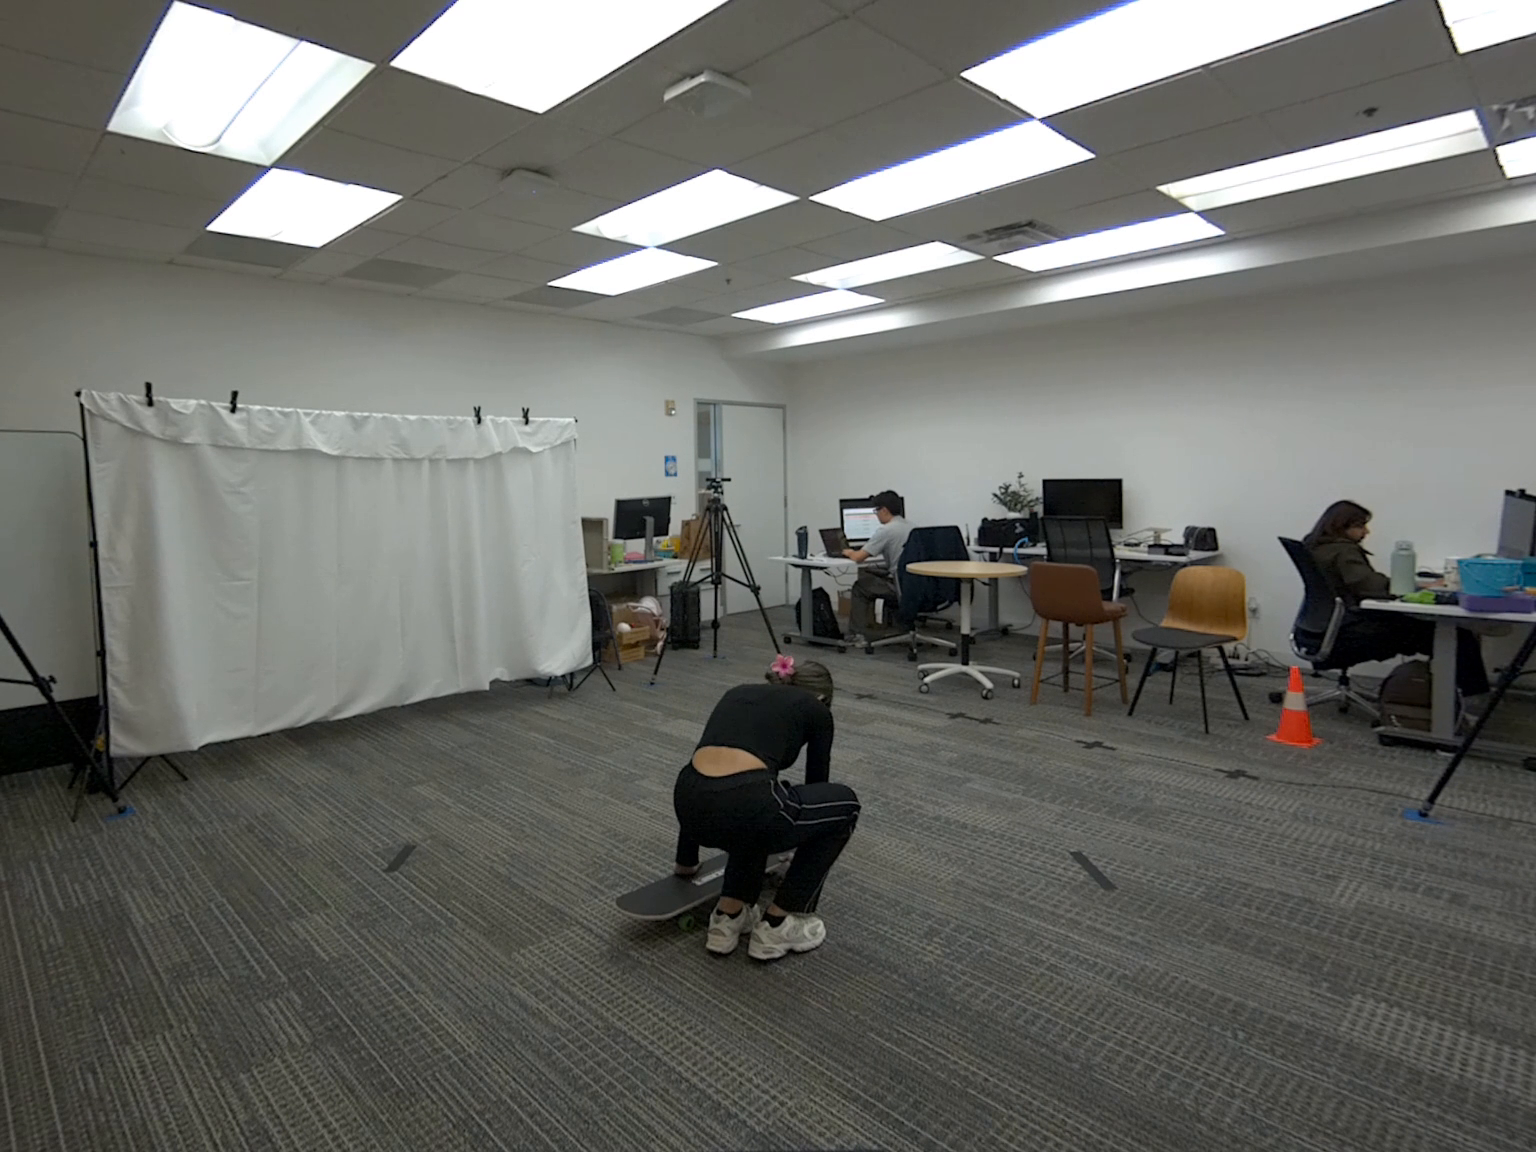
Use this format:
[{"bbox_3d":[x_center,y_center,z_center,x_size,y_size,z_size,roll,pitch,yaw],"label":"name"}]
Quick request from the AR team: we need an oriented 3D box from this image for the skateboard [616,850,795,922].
[{"bbox_3d":[-0.164,1.014,2.840,0.765,0.110,0.199,-8,8,-43],"label":"skateboard"}]
